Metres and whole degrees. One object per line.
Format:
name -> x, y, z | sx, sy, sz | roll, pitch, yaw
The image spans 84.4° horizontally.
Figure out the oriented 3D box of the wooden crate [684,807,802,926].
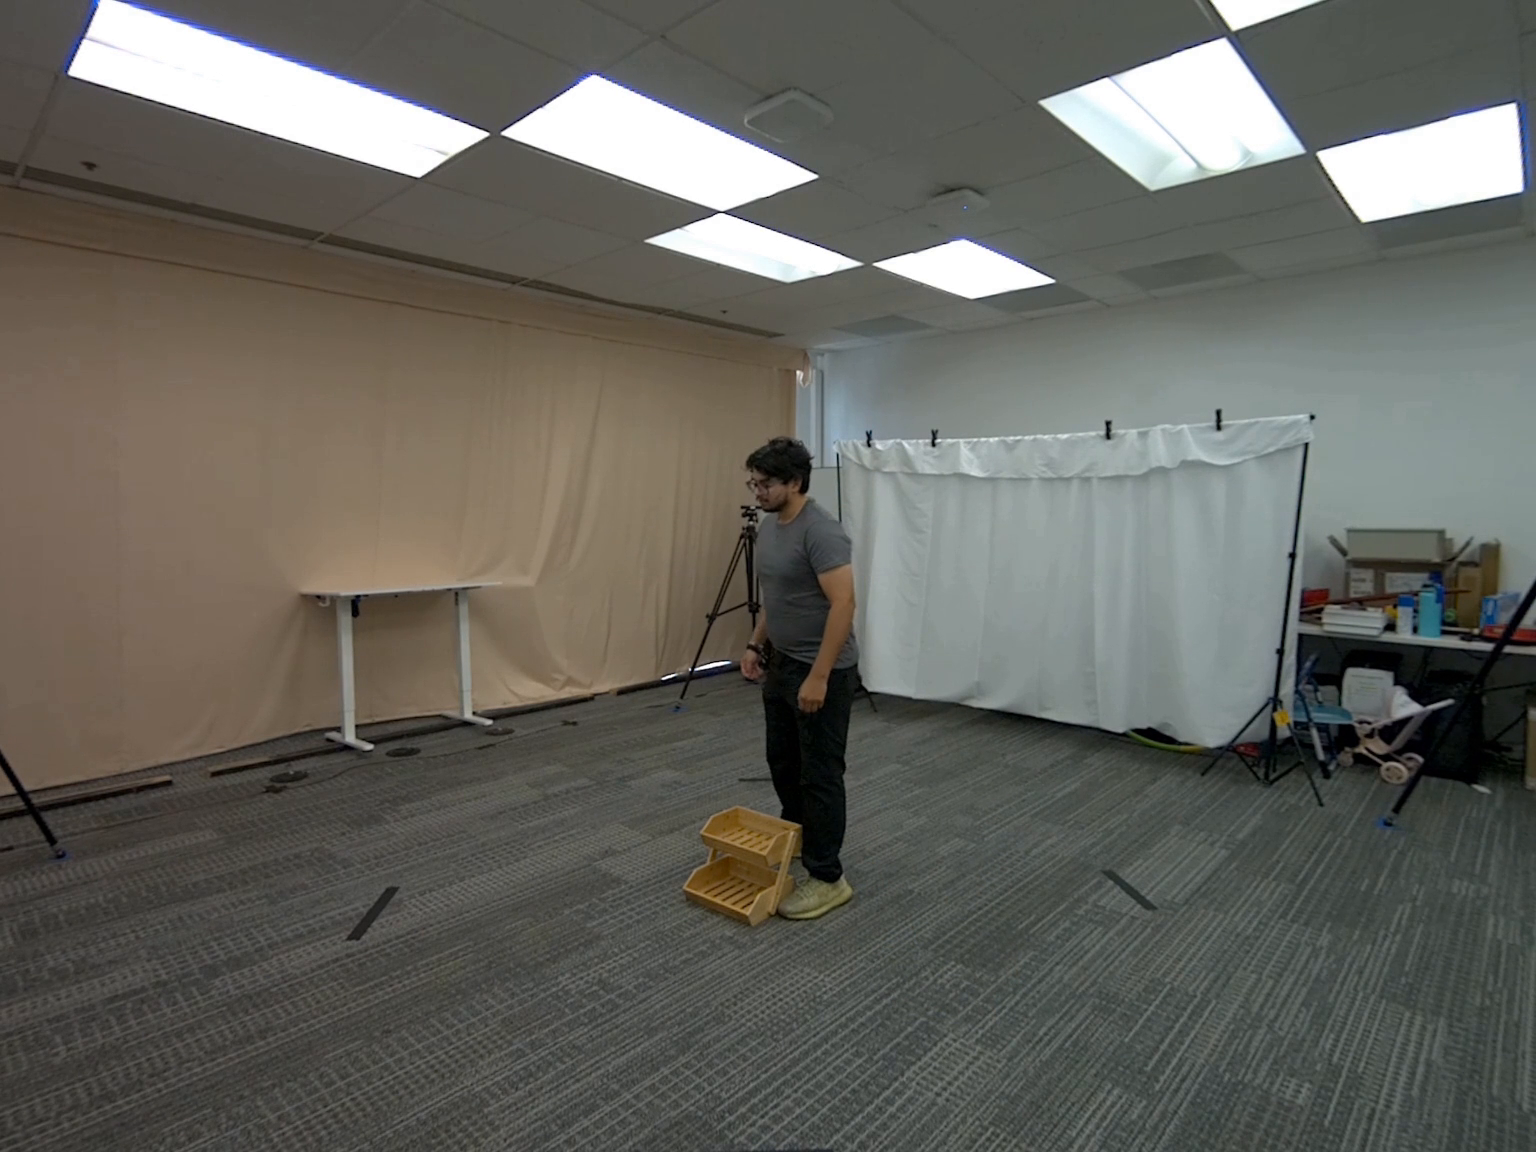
wooden crate -> -0.087, 1.013, 2.974 | 0.335, 0.273, 0.293 | 3, 5, 40
